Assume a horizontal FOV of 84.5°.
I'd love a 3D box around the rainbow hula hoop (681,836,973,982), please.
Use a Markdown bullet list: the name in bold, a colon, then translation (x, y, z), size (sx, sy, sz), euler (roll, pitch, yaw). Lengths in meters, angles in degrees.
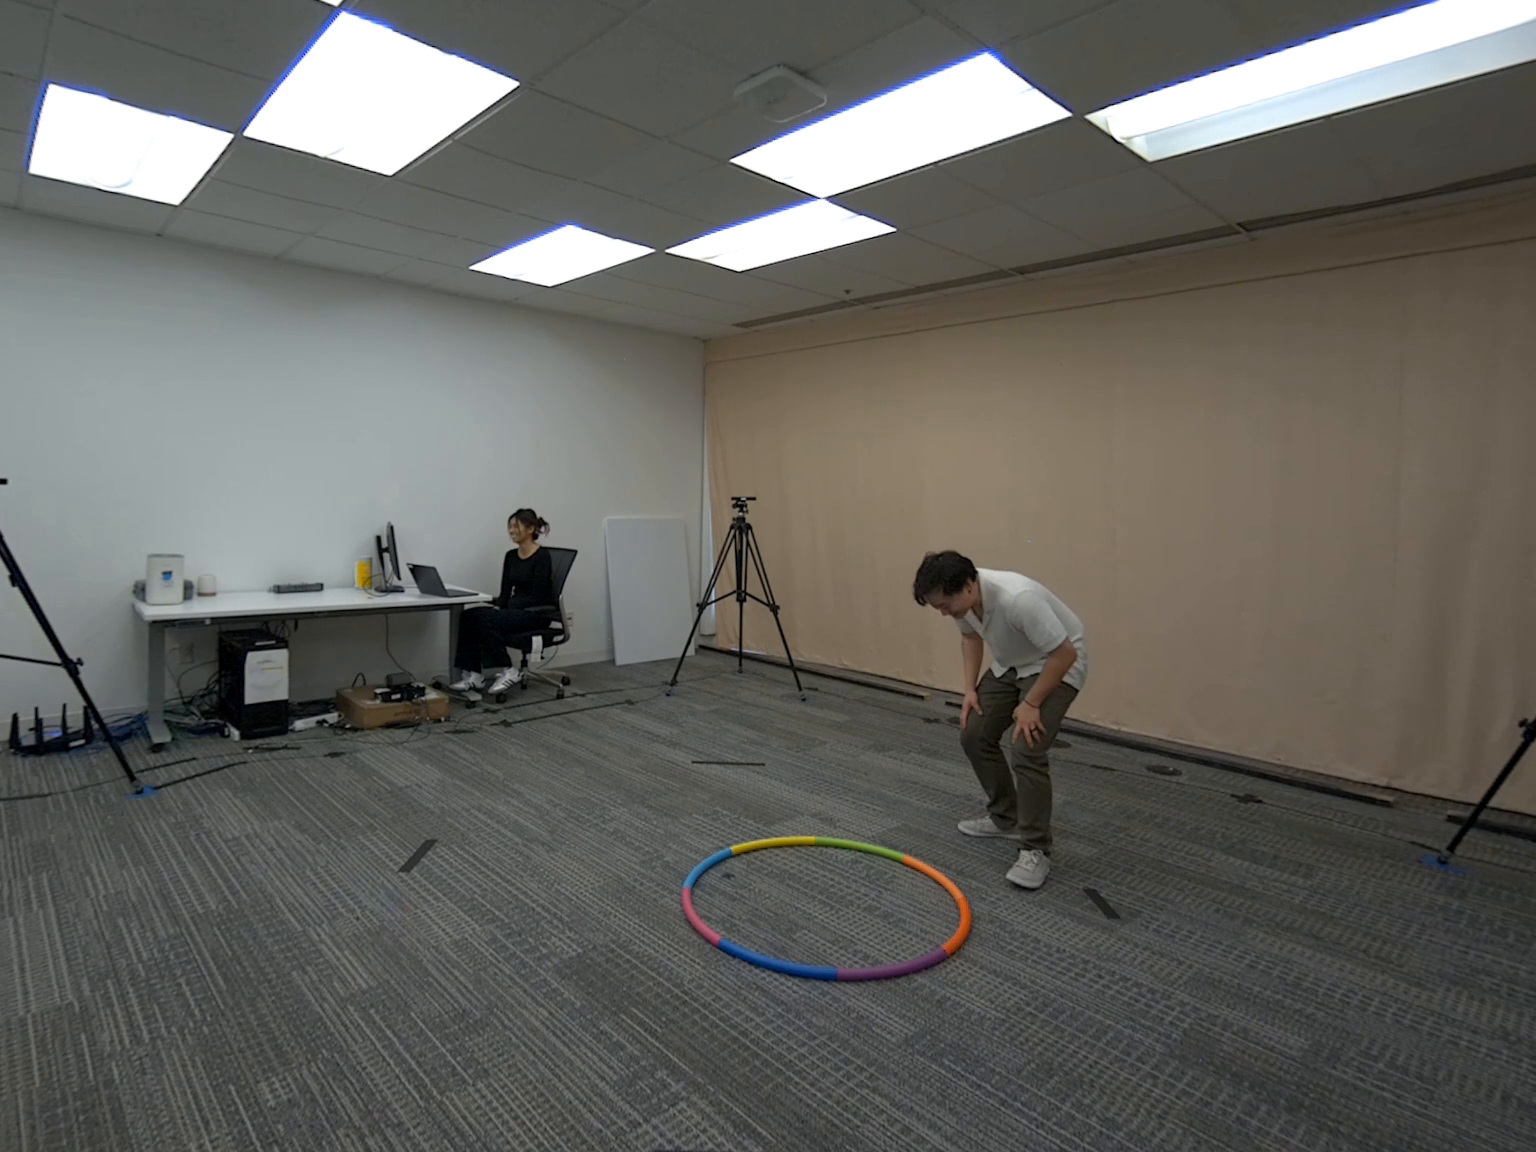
- **rainbow hula hoop**: translation (0.181, 1.102, 2.925), size (0.978, 0.035, 0.982), euler (1, 5, -1)
